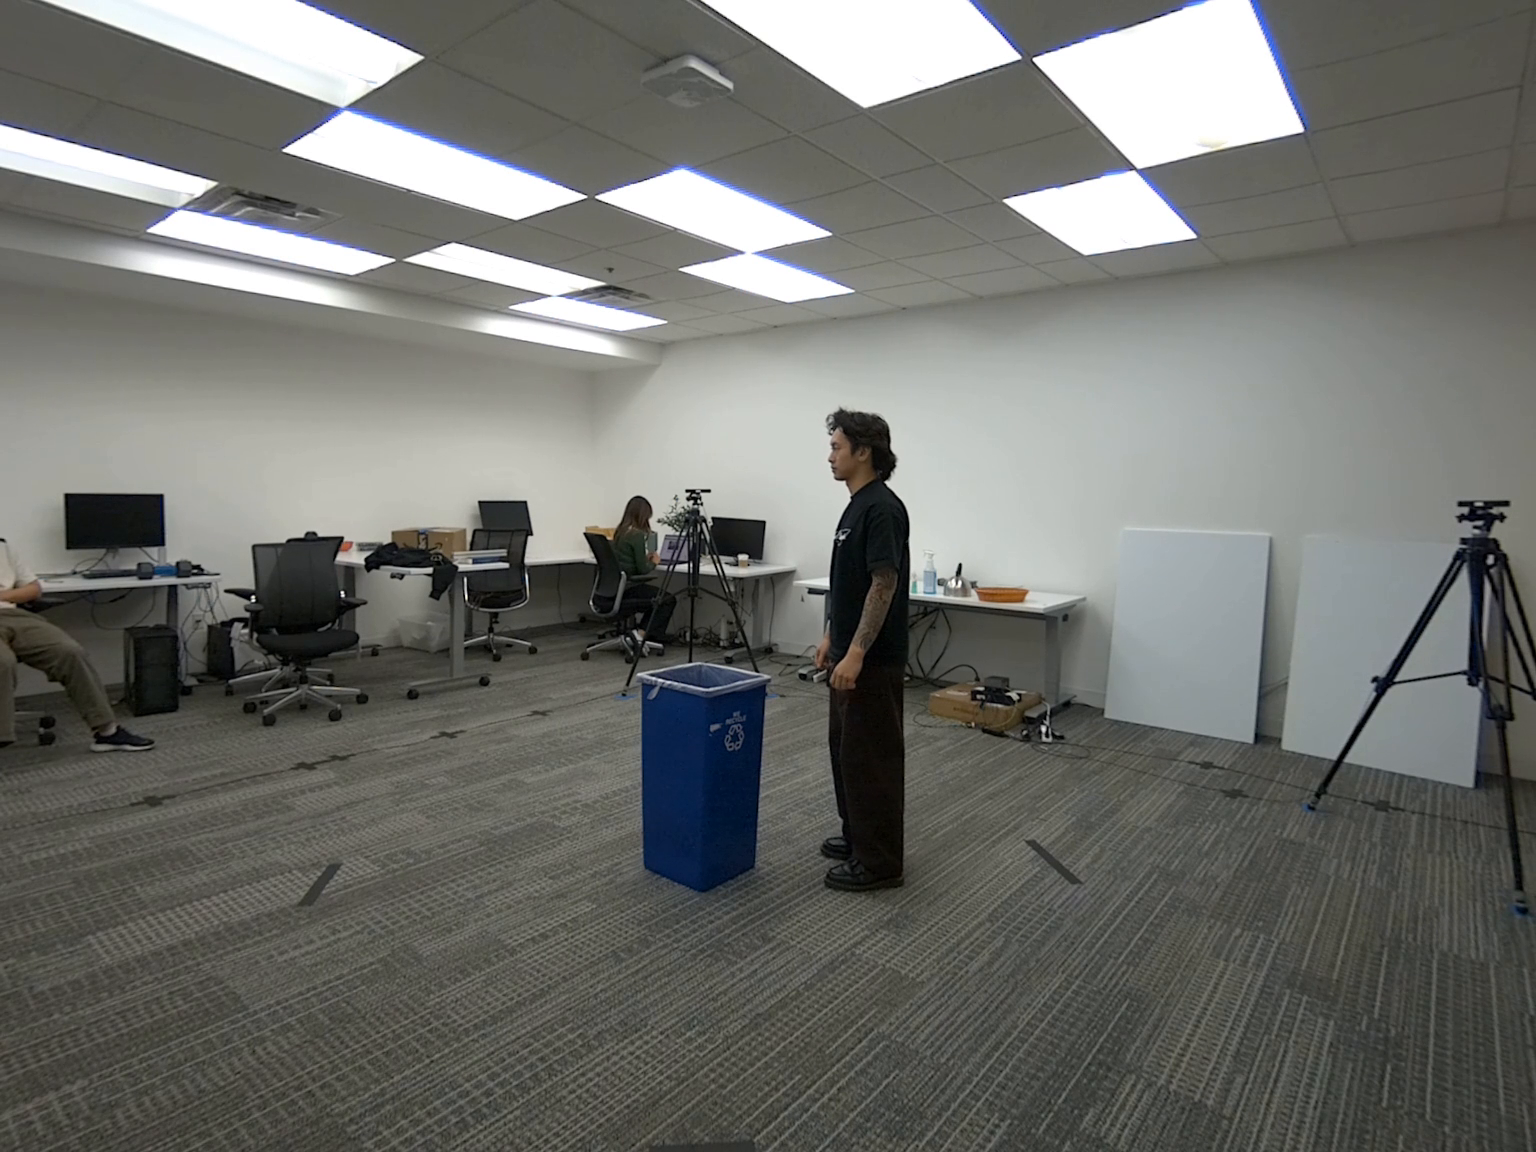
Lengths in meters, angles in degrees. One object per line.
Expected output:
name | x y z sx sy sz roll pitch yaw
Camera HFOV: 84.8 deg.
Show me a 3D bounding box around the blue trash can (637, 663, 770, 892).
blue trash can | -0.251 0.713 3.129 0.391 0.712 0.363 4 4 39
